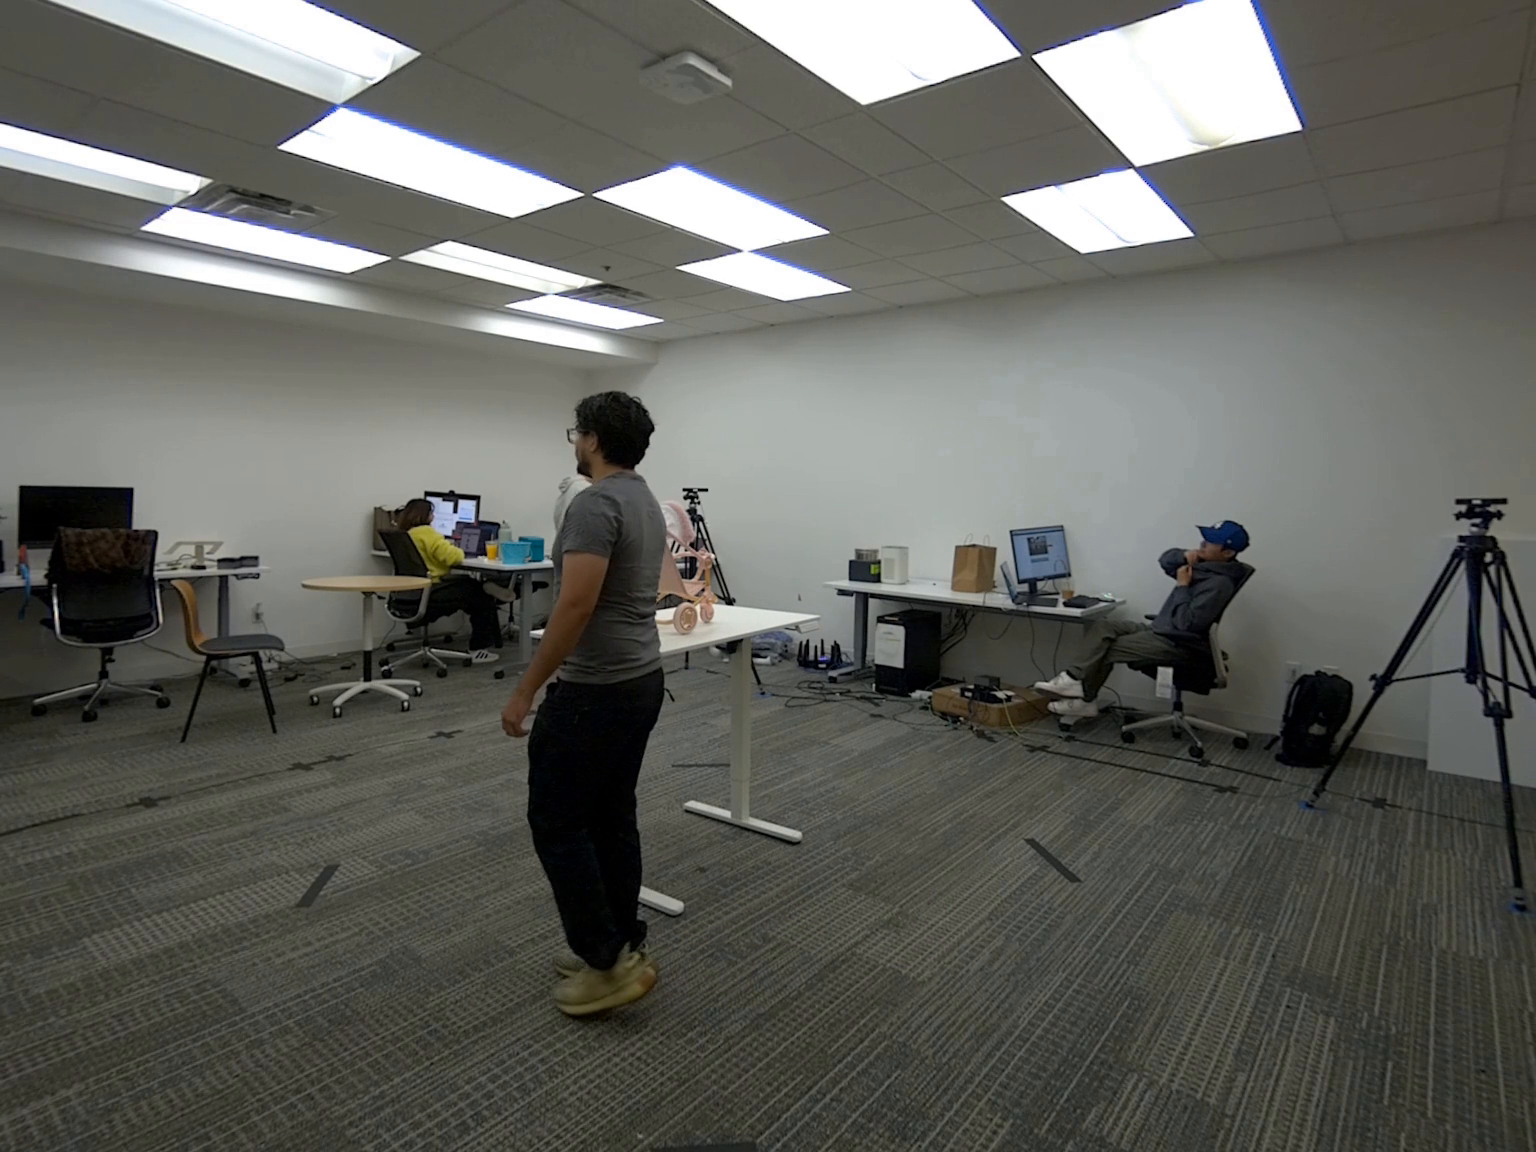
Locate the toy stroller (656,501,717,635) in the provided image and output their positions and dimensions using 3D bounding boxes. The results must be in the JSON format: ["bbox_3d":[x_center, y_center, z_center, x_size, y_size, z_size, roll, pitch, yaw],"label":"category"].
[{"bbox_3d":[-0.354,-0.034,3.071,0.291,0.526,0.336,3,21,42],"label":"toy stroller"}]
